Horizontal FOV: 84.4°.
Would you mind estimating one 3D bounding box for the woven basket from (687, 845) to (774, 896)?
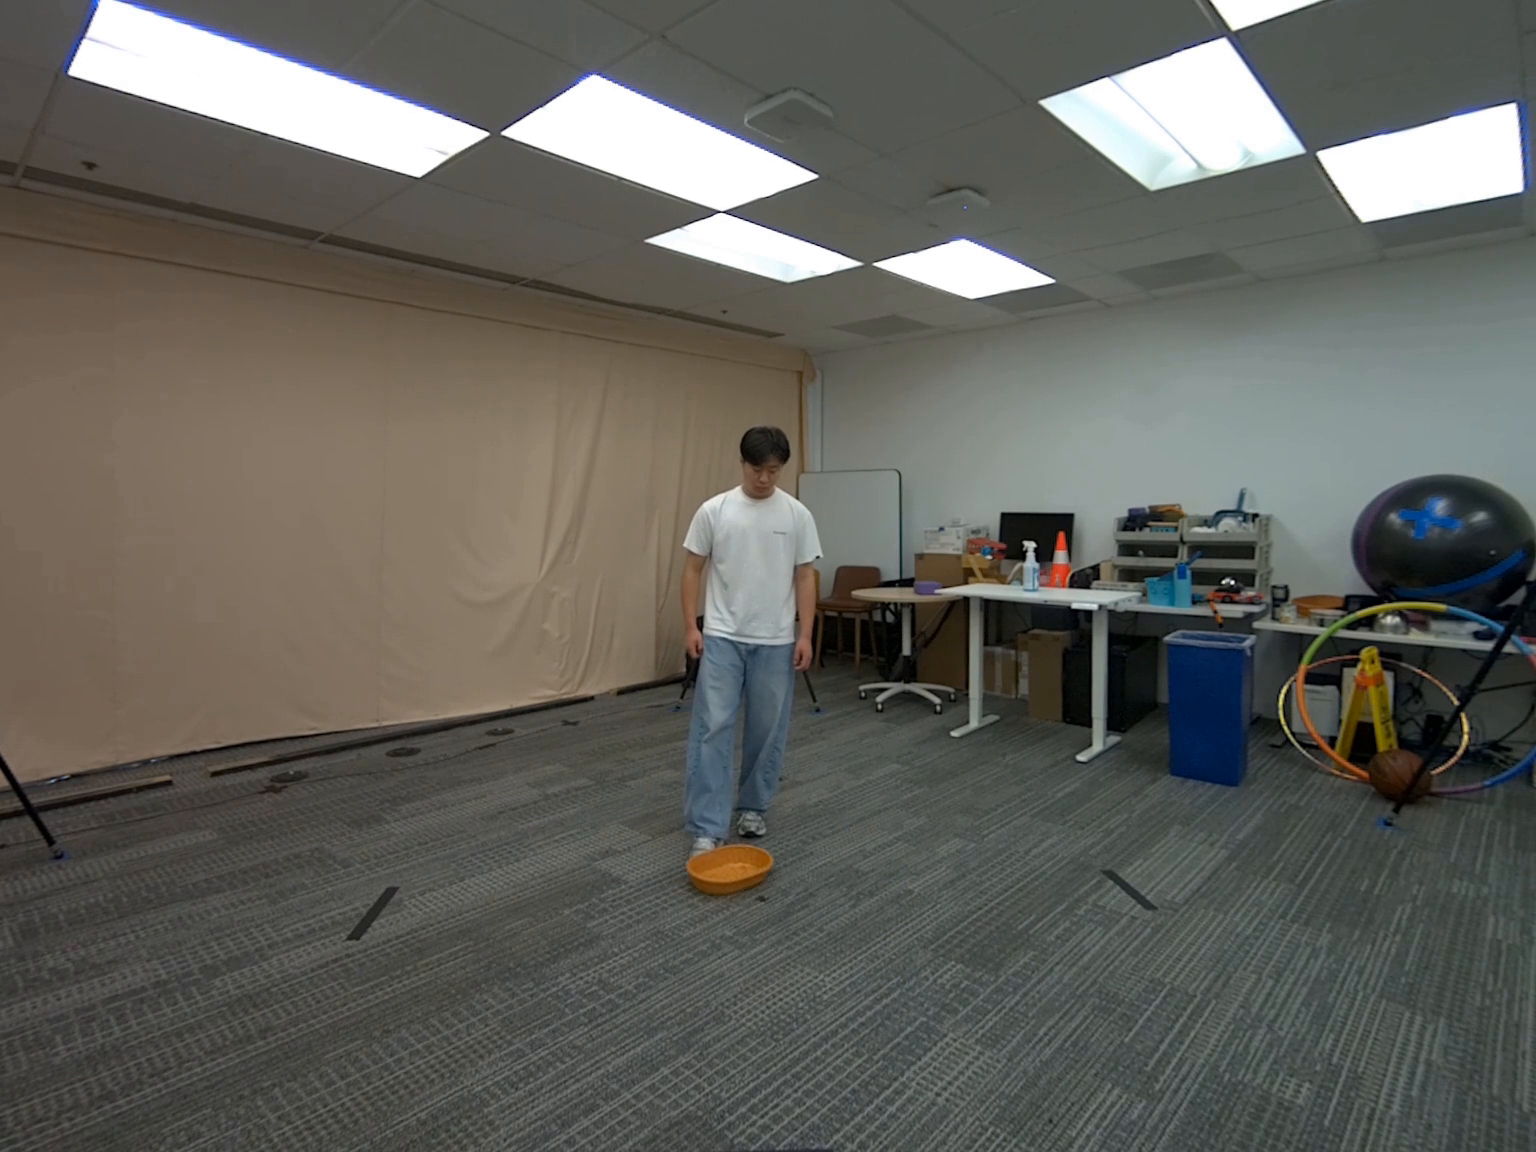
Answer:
[{"bbox_3d":[-0.138,1.084,3.122,0.340,0.073,0.261,-3,8,-38],"label":"woven basket"}]
